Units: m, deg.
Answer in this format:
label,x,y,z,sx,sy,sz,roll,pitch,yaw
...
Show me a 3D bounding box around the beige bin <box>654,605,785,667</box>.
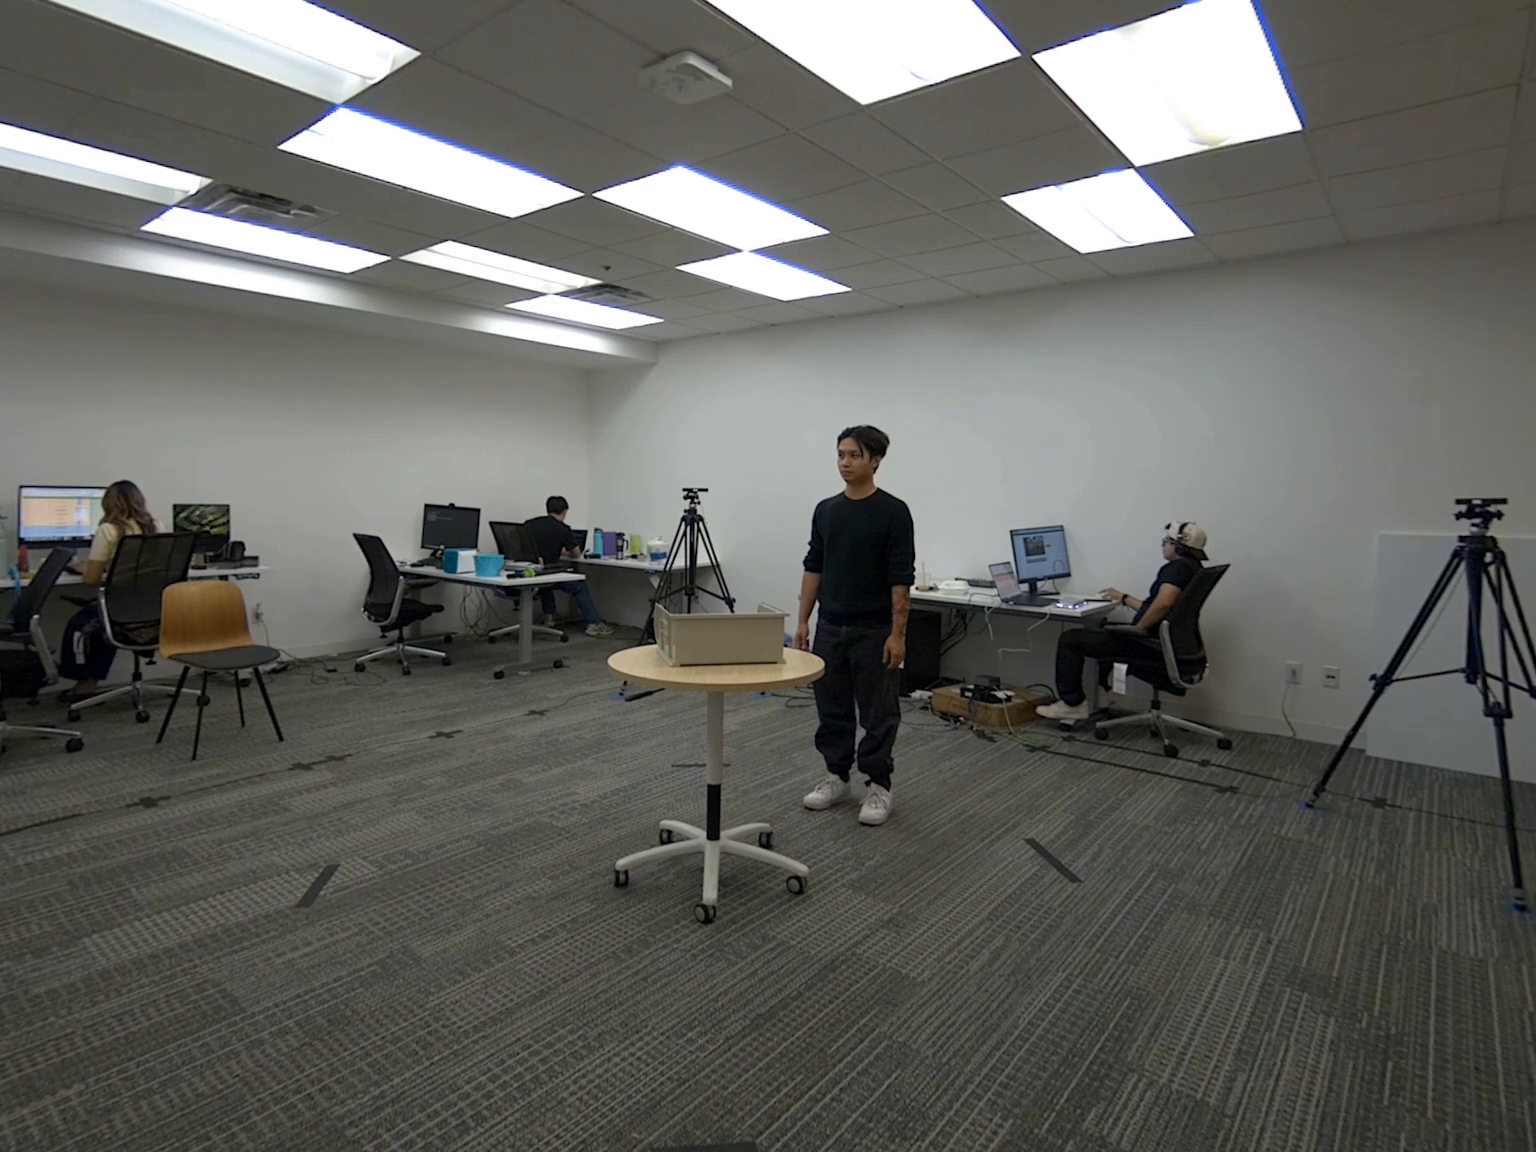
label,x,y,z,sx,sy,sz,roll,pitch,yaw
beige bin,-0.191,0.199,3.094,0.416,0.188,0.385,-1,5,-15
